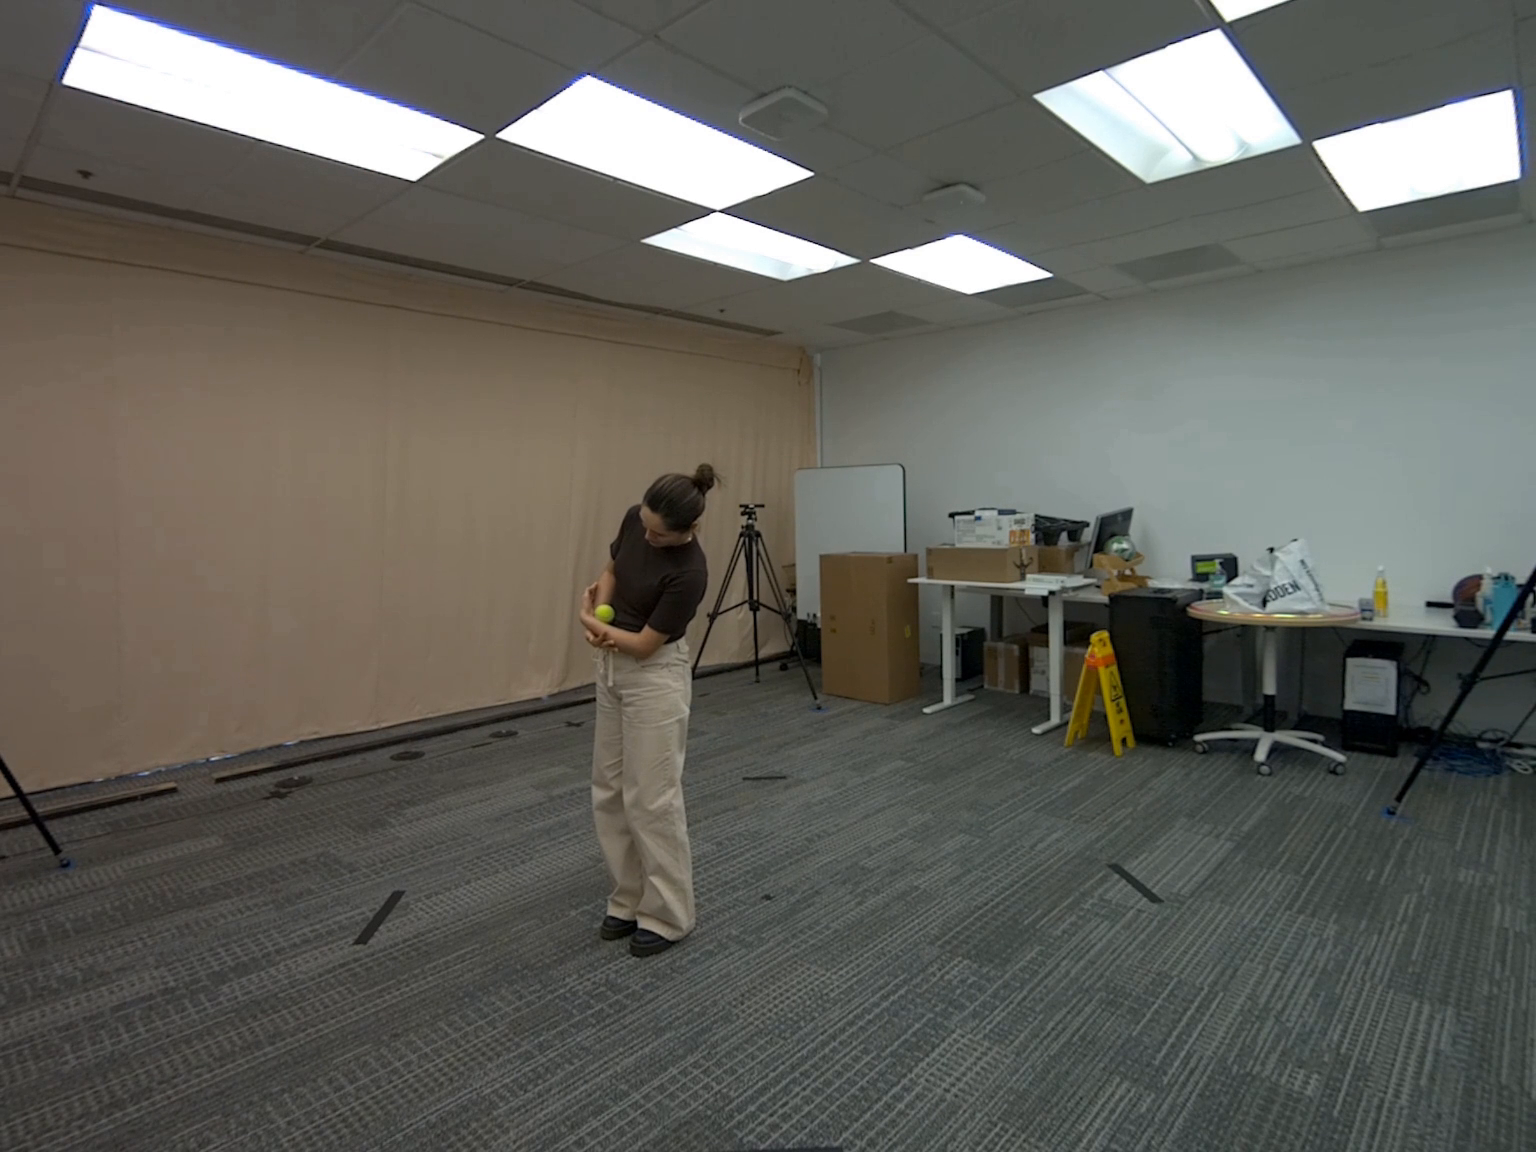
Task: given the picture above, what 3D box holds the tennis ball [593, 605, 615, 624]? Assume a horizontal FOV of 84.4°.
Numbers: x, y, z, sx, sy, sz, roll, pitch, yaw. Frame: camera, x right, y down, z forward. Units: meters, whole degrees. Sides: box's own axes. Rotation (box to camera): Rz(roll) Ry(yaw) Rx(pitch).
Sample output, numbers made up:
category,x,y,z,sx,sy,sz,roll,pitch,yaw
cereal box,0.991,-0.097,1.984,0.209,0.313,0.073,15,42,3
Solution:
category,x,y,z,sx,sy,sz,roll,pitch,yaw
tennis ball,-0.529,0.124,2.739,0.066,0.066,0.067,-1,4,-2
